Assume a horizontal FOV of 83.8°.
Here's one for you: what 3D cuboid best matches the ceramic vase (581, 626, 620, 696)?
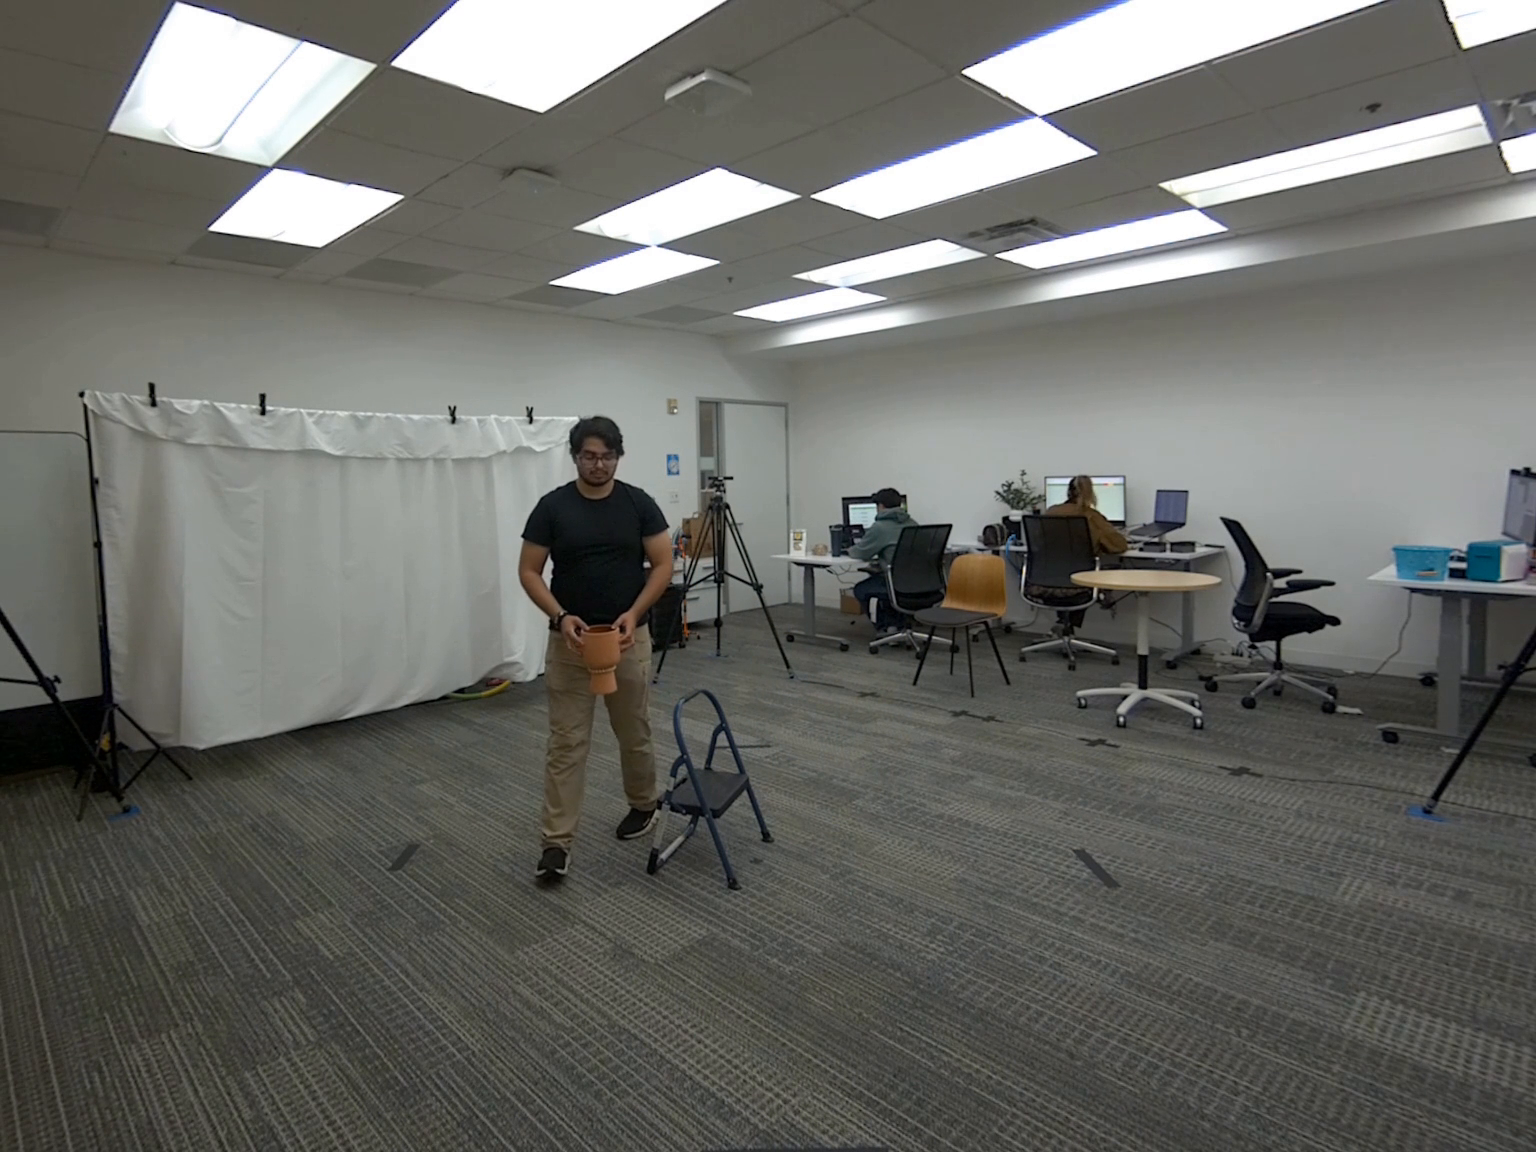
[{"bbox_3d":[-0.589,0.293,2.987,0.162,0.218,0.132,0,9,26],"label":"ceramic vase"}]
